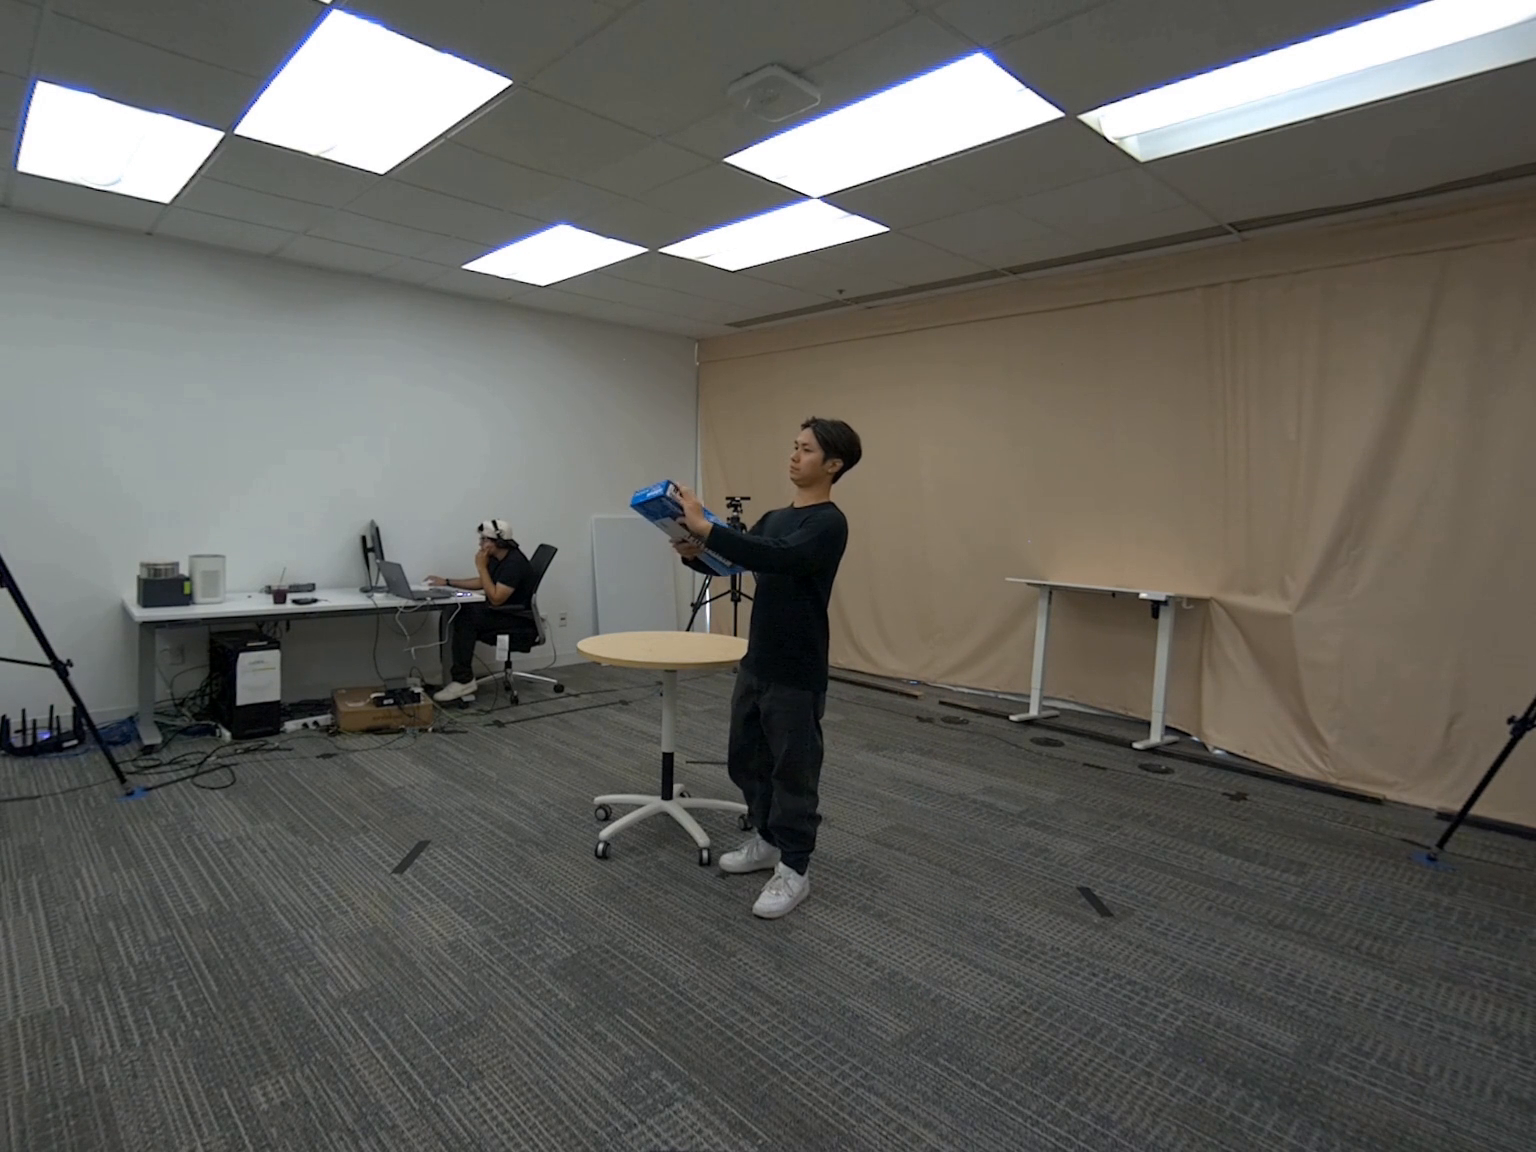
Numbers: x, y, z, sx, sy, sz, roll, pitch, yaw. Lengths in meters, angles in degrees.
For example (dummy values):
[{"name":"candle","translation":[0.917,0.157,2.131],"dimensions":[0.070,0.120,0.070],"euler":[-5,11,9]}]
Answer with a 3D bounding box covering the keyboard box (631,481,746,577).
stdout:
[{"name":"keyboard box","translation":[-0.239,-0.144,2.720],"dimensions":[0.179,0.060,0.424],"euler":[-14,-42,46]}]
